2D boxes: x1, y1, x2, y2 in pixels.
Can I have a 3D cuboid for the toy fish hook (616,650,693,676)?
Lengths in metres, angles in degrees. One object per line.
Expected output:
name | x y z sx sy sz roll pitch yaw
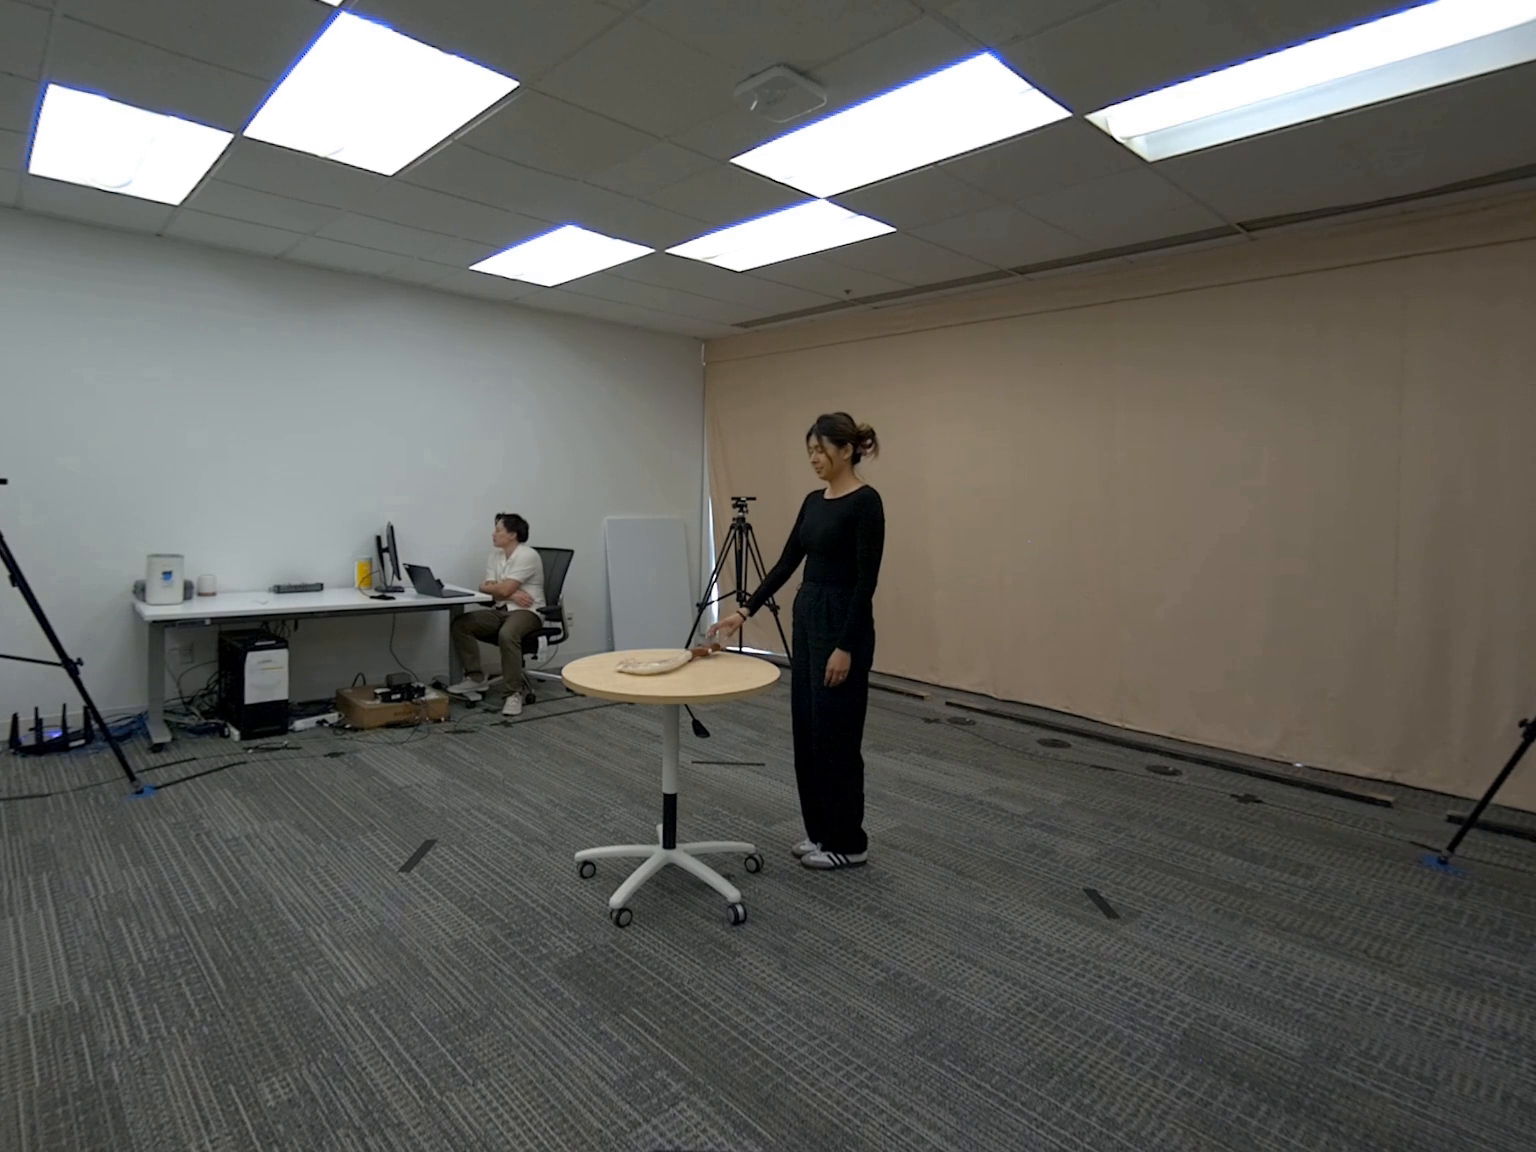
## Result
toy fish hook | -0.384 0.302 3.083 0.230 0.048 0.497 7 8 29
